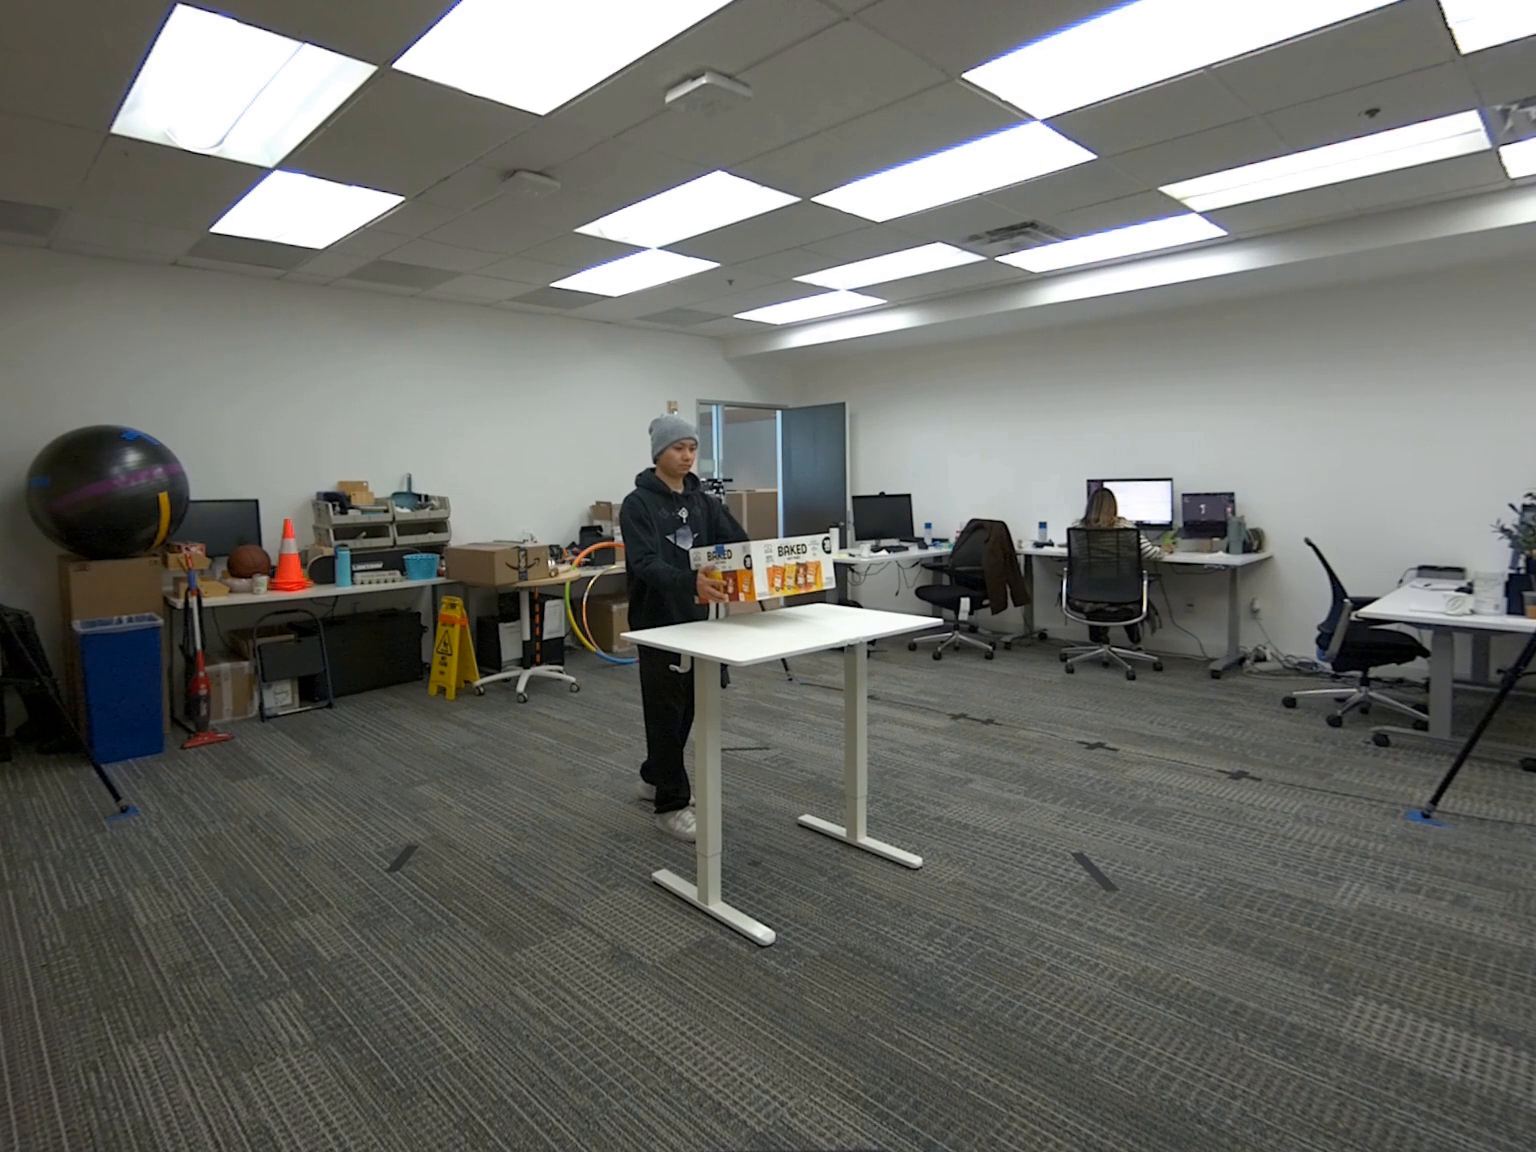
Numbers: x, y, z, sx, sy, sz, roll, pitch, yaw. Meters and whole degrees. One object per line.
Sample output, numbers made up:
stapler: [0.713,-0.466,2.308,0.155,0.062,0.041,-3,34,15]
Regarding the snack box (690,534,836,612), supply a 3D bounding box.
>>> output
snack box: [-0.024,-0.026,3.150,0.395,0.206,0.349,-7,2,-42]
